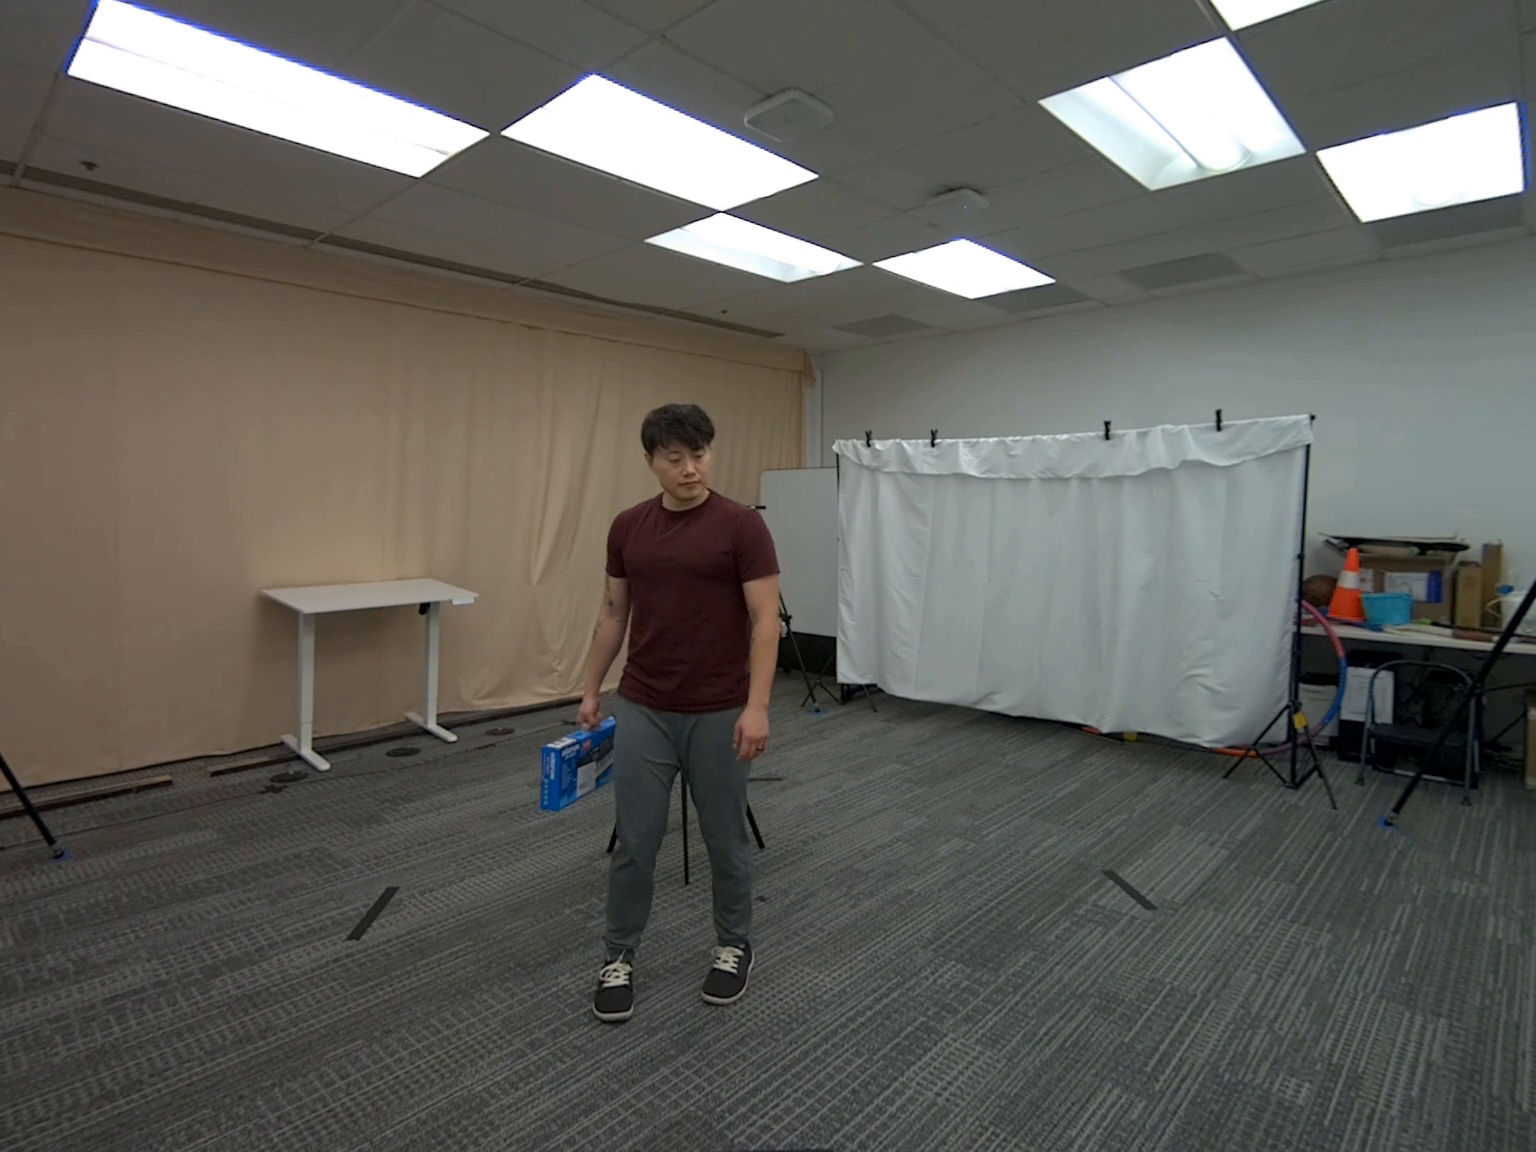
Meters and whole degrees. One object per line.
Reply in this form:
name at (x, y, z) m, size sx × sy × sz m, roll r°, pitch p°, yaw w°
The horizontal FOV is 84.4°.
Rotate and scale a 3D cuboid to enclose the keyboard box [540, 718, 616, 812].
keyboard box at (-0.522, 0.537, 2.475) m, size 0.060 × 0.176 × 0.427 m, roll 2°, pitch 3°, yaw 22°
